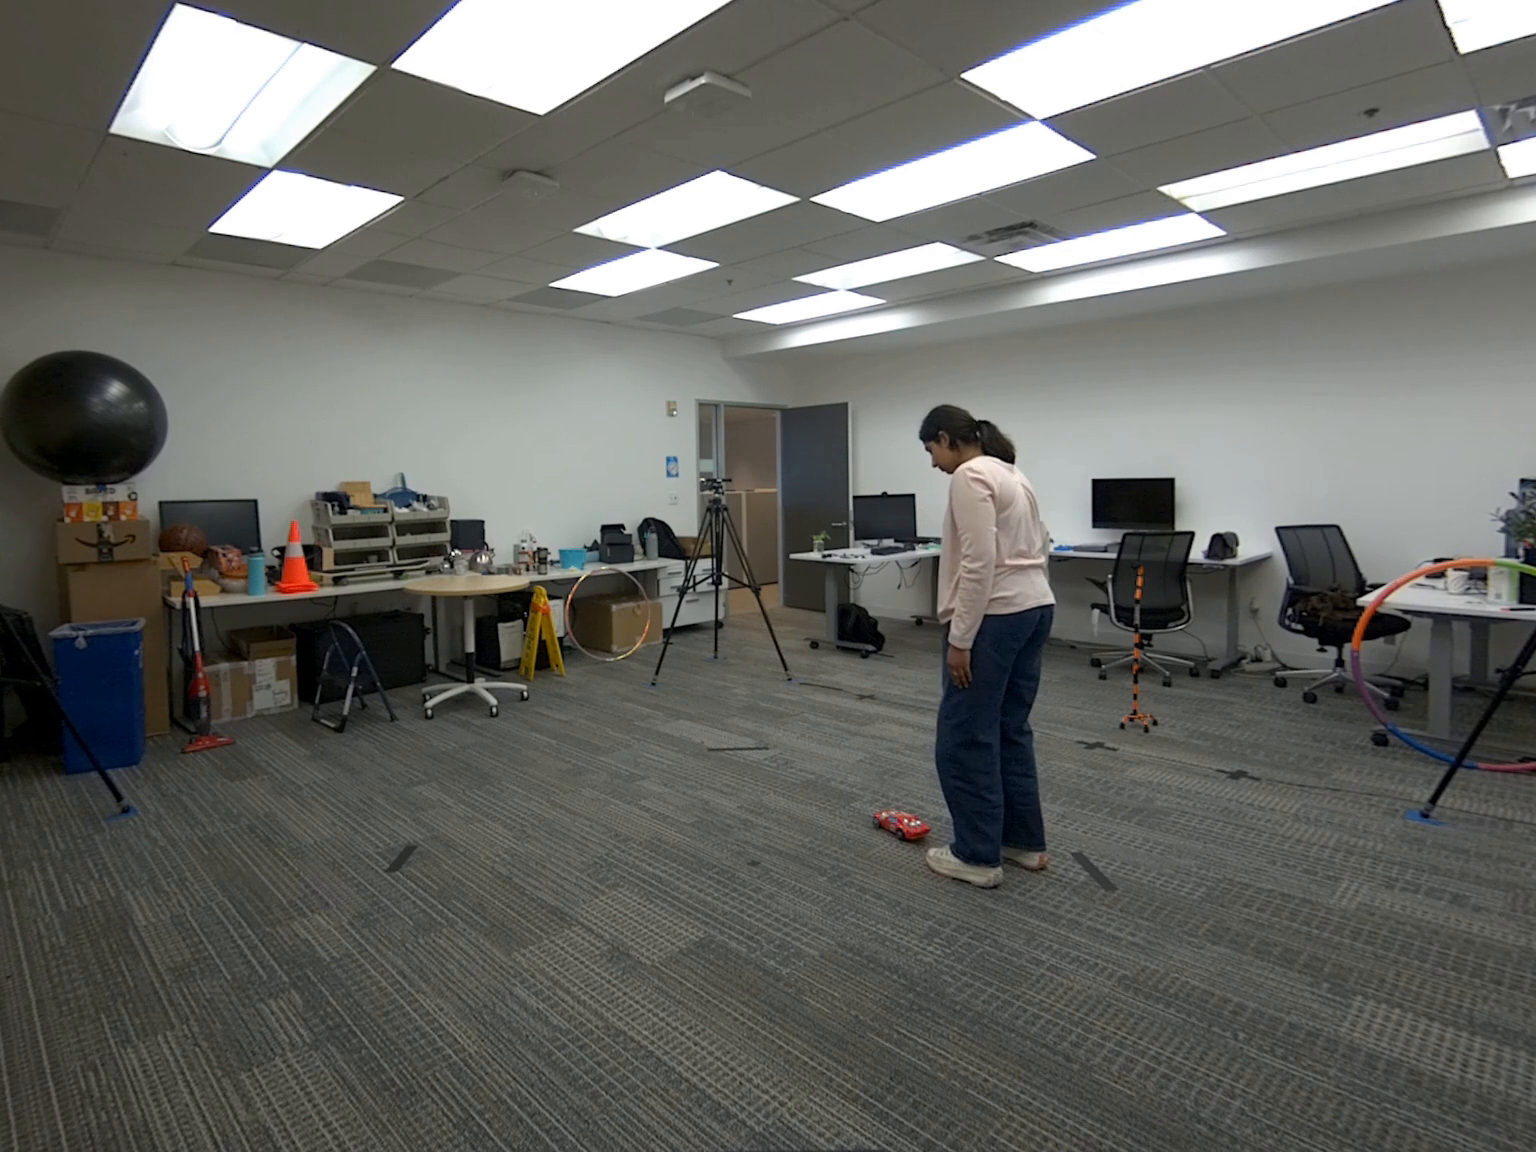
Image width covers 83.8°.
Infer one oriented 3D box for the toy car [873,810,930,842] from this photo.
[{"bbox_3d":[0.529,0.977,3.342,0.127,0.083,0.259,-4,-4,-29],"label":"toy car"}]
